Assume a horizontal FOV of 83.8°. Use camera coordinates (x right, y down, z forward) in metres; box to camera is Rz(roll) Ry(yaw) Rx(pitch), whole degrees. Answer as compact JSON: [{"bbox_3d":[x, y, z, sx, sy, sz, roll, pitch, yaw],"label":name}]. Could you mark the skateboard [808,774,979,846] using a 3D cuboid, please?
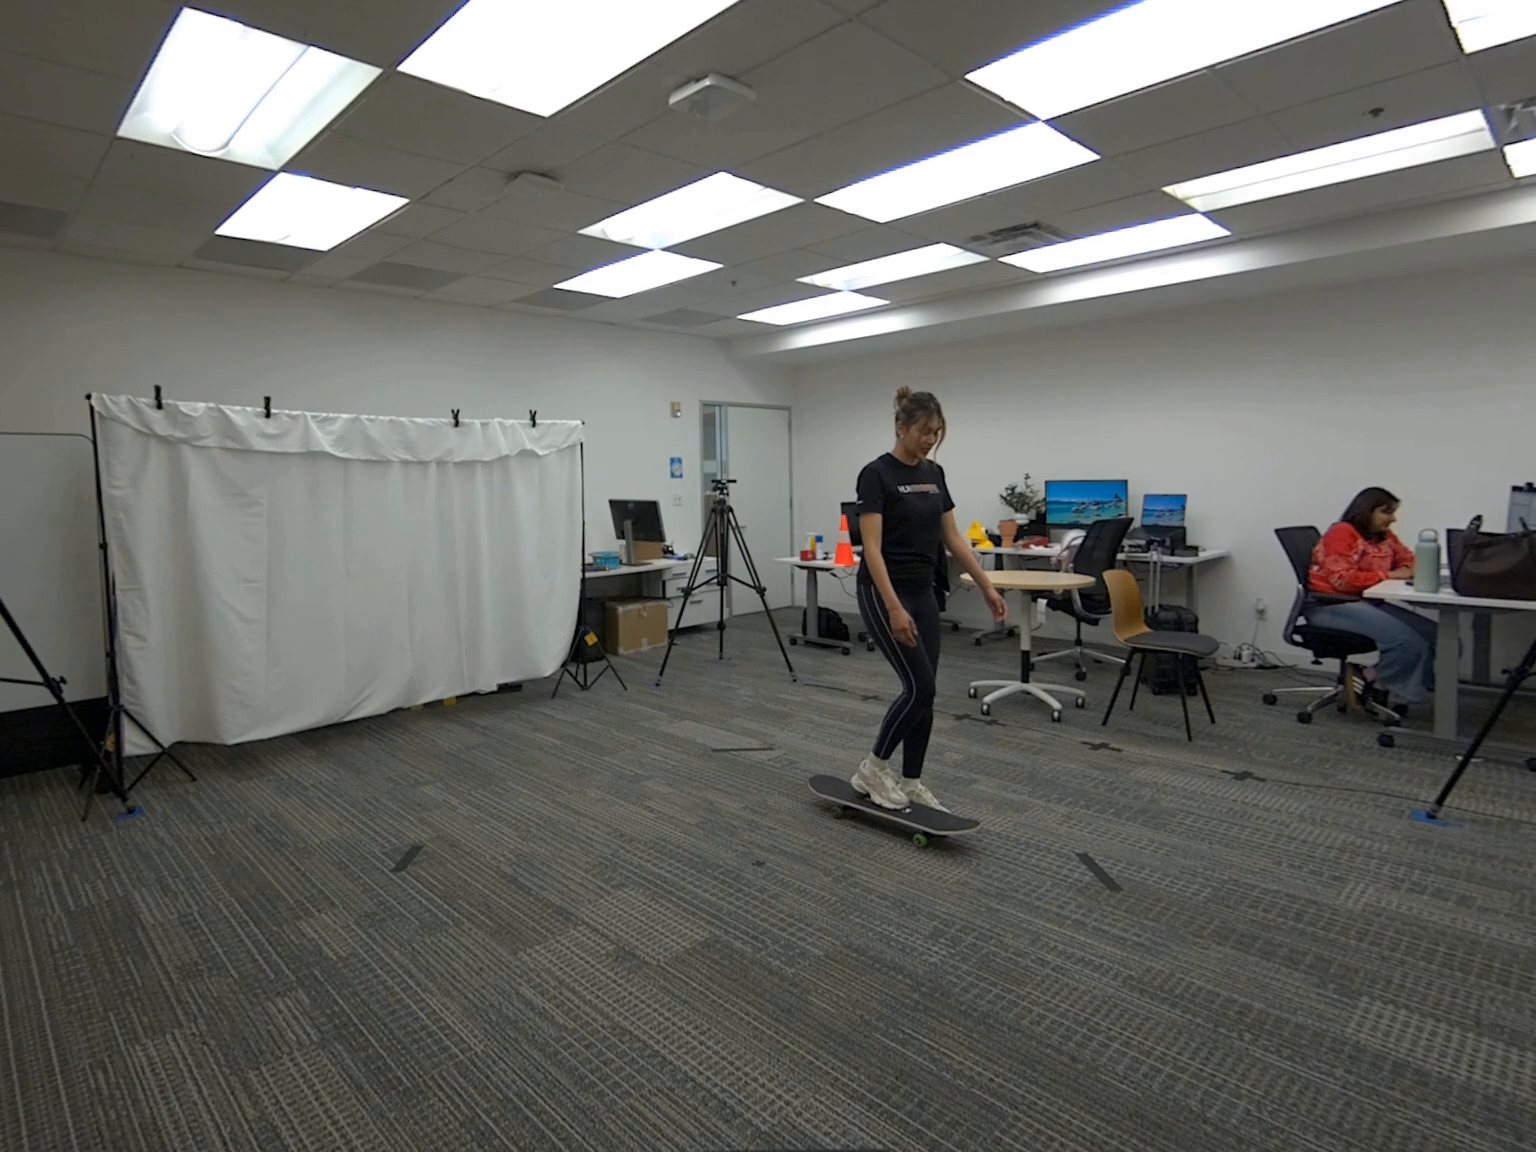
[{"bbox_3d":[0.490,0.953,3.422,0.188,0.110,0.810,-6,8,-44],"label":"skateboard"}]
